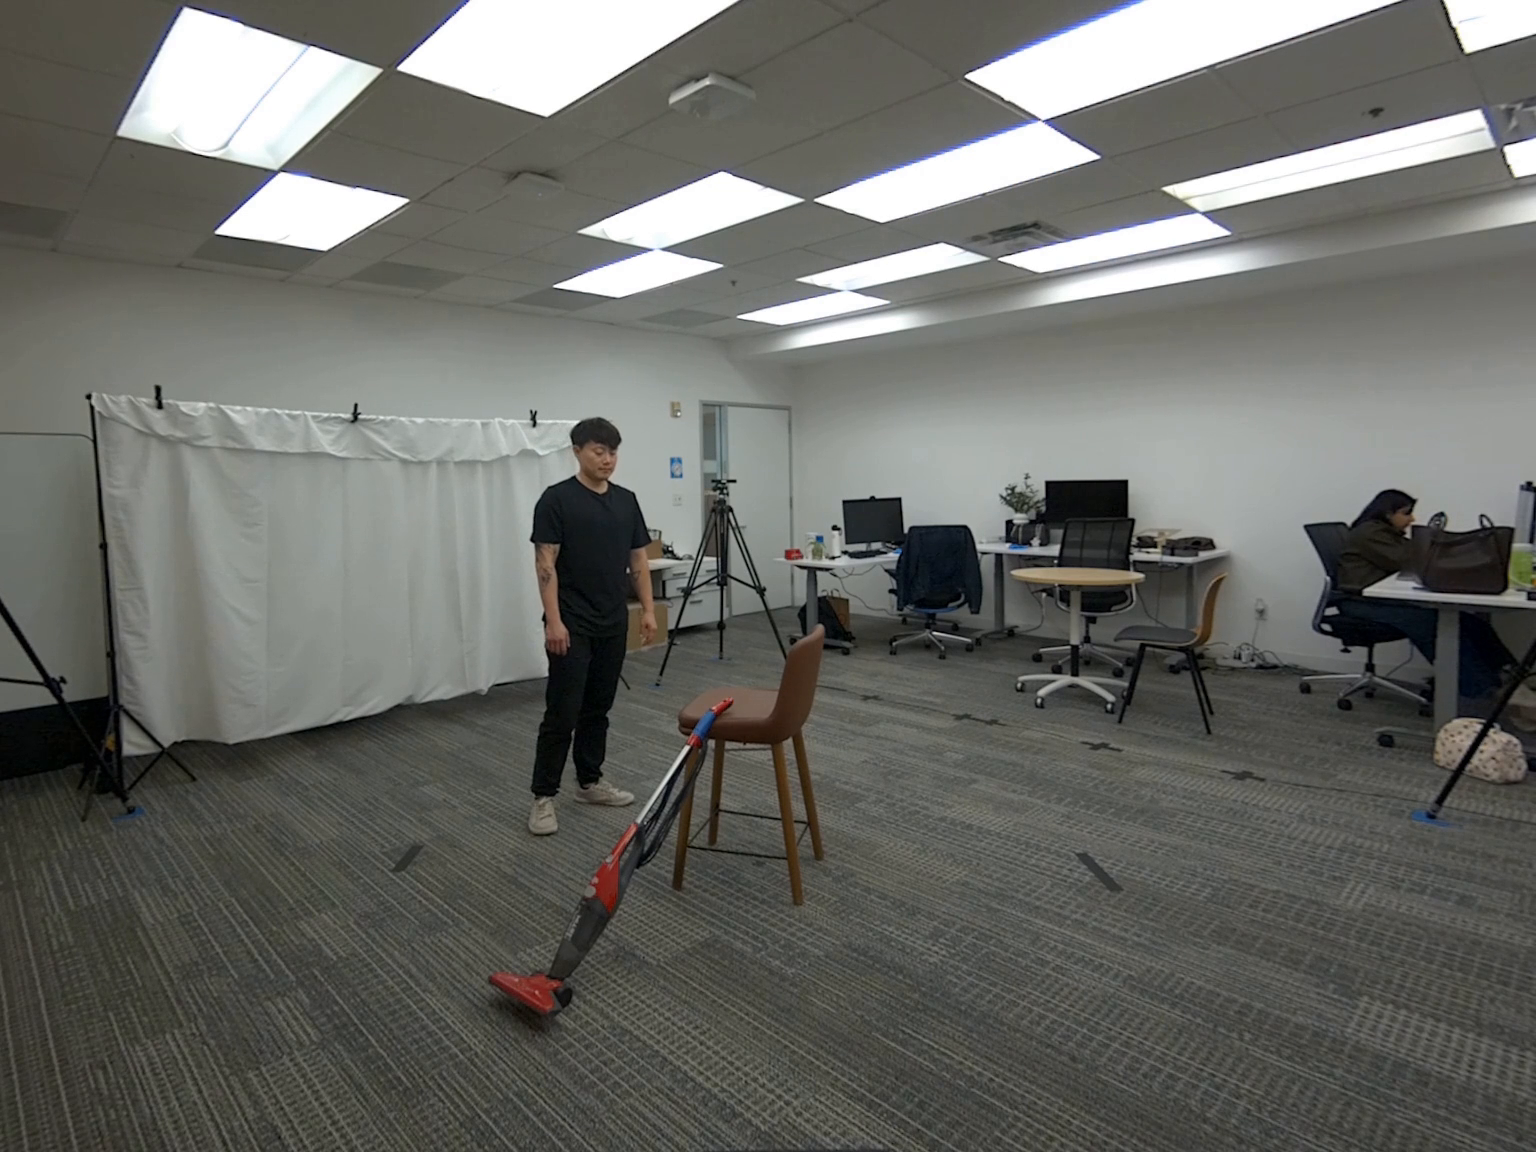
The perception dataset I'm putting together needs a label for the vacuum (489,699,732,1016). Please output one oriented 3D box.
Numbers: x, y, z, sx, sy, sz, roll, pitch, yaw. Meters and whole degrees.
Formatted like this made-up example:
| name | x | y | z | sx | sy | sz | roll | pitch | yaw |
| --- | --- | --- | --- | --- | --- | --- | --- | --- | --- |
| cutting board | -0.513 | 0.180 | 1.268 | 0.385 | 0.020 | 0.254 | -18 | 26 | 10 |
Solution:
| name | x | y | z | sx | sy | sz | roll | pitch | yaw |
| --- | --- | --- | --- | --- | --- | --- | --- | --- | --- |
| vacuum | -0.373 | 0.788 | 2.572 | 0.260 | 0.139 | 1.053 | 5 | 44 | 37 |
